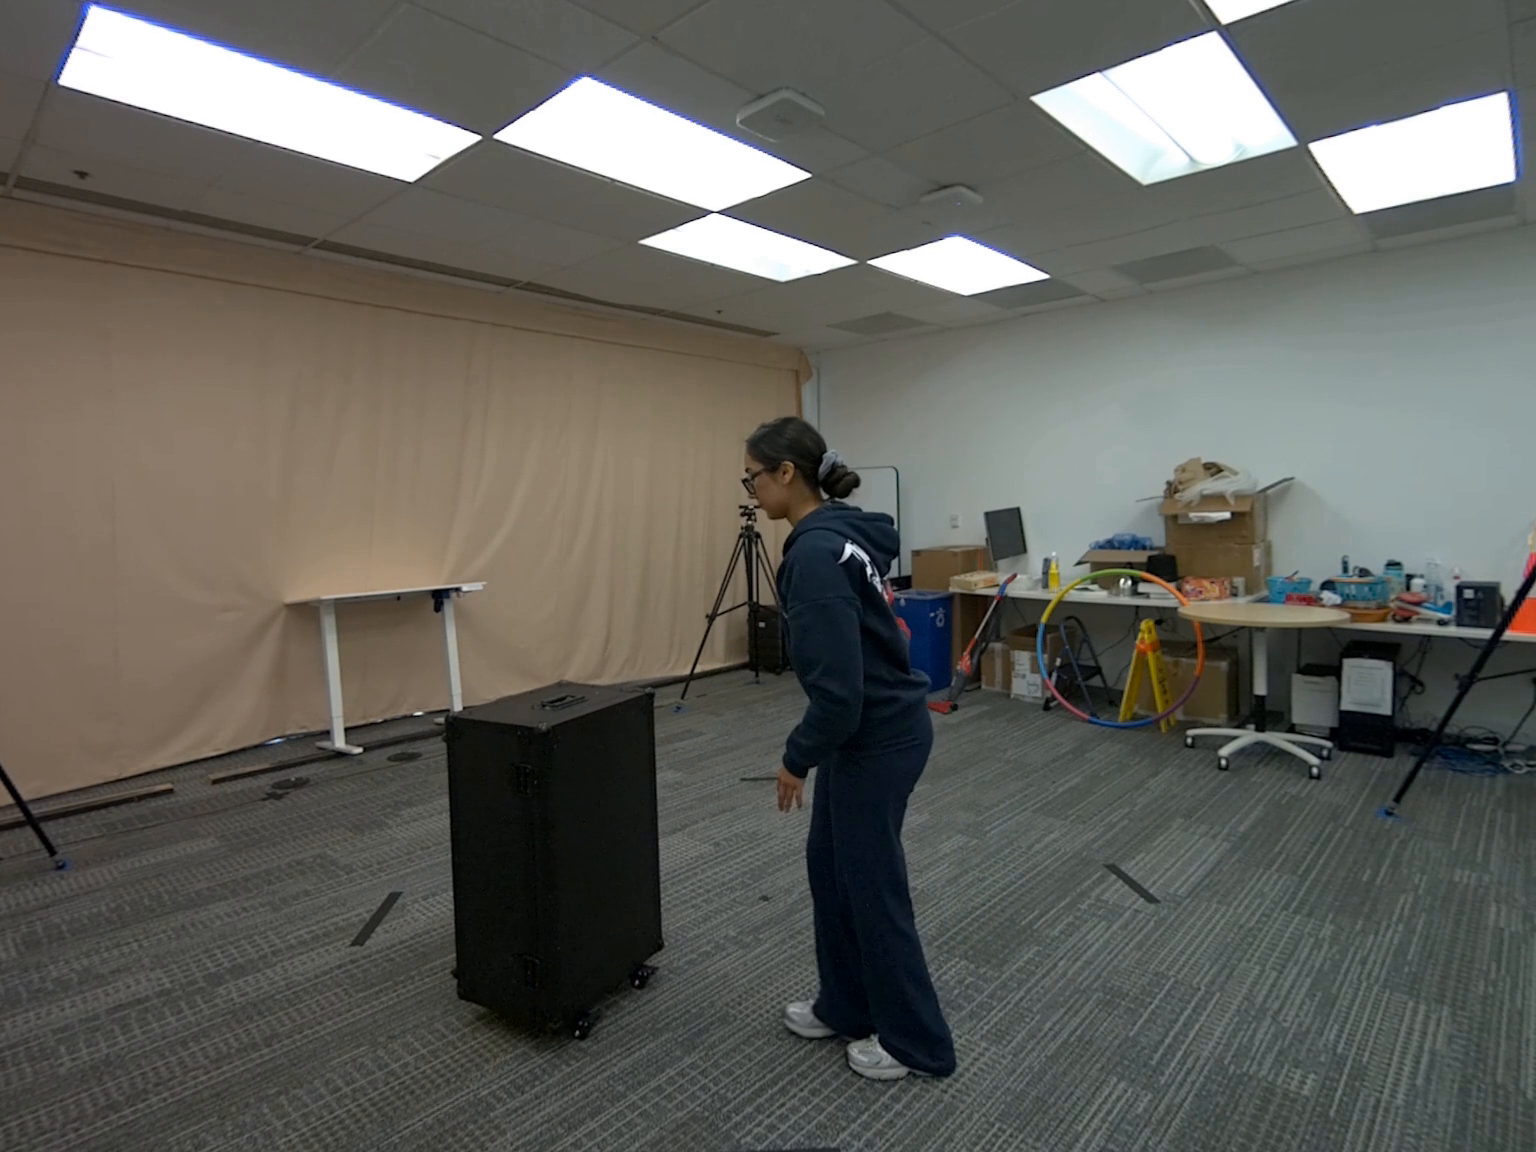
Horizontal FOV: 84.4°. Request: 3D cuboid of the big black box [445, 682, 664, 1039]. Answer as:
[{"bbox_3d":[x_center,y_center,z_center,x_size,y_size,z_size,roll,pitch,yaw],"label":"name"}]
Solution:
[{"bbox_3d":[-0.600,0.778,2.394,0.407,0.860,0.507,-1,3,30],"label":"big black box"}]
